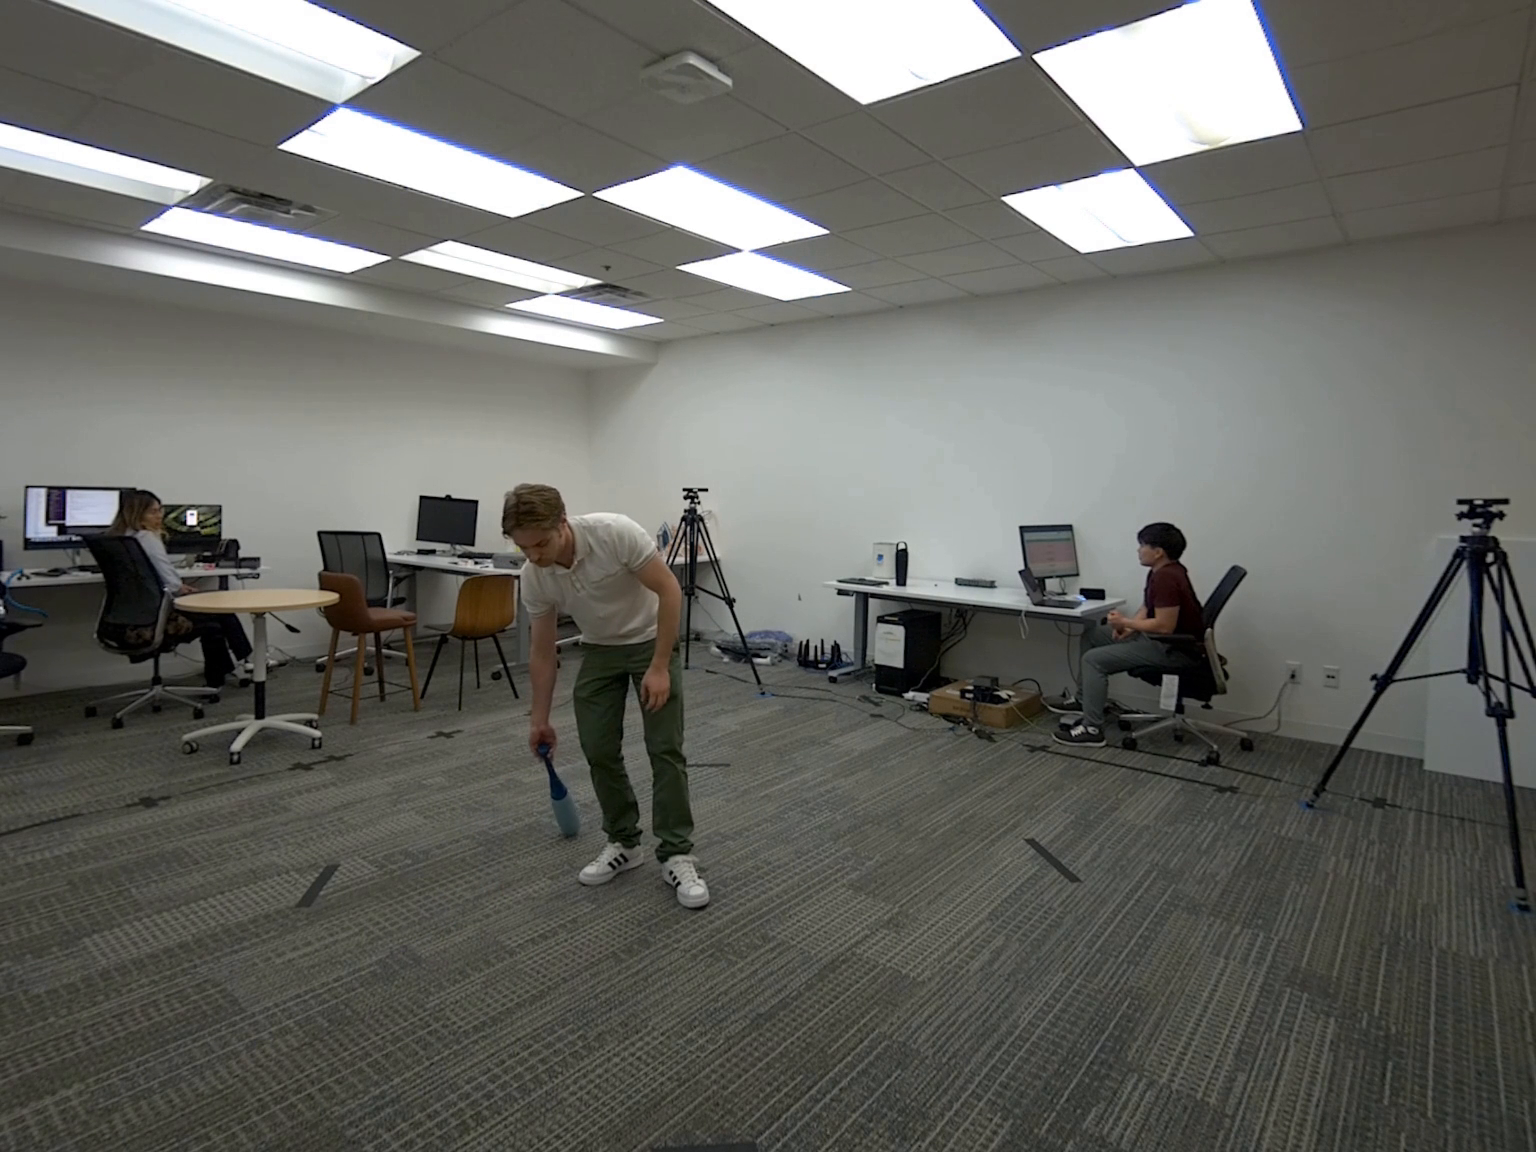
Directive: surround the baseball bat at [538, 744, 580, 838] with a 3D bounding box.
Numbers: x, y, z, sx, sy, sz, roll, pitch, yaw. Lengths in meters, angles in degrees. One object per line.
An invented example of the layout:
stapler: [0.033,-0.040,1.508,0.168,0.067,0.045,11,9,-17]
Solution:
baseball bat: [-0.818,0.818,3.242,0.089,0.526,0.092,-4,42,2]
